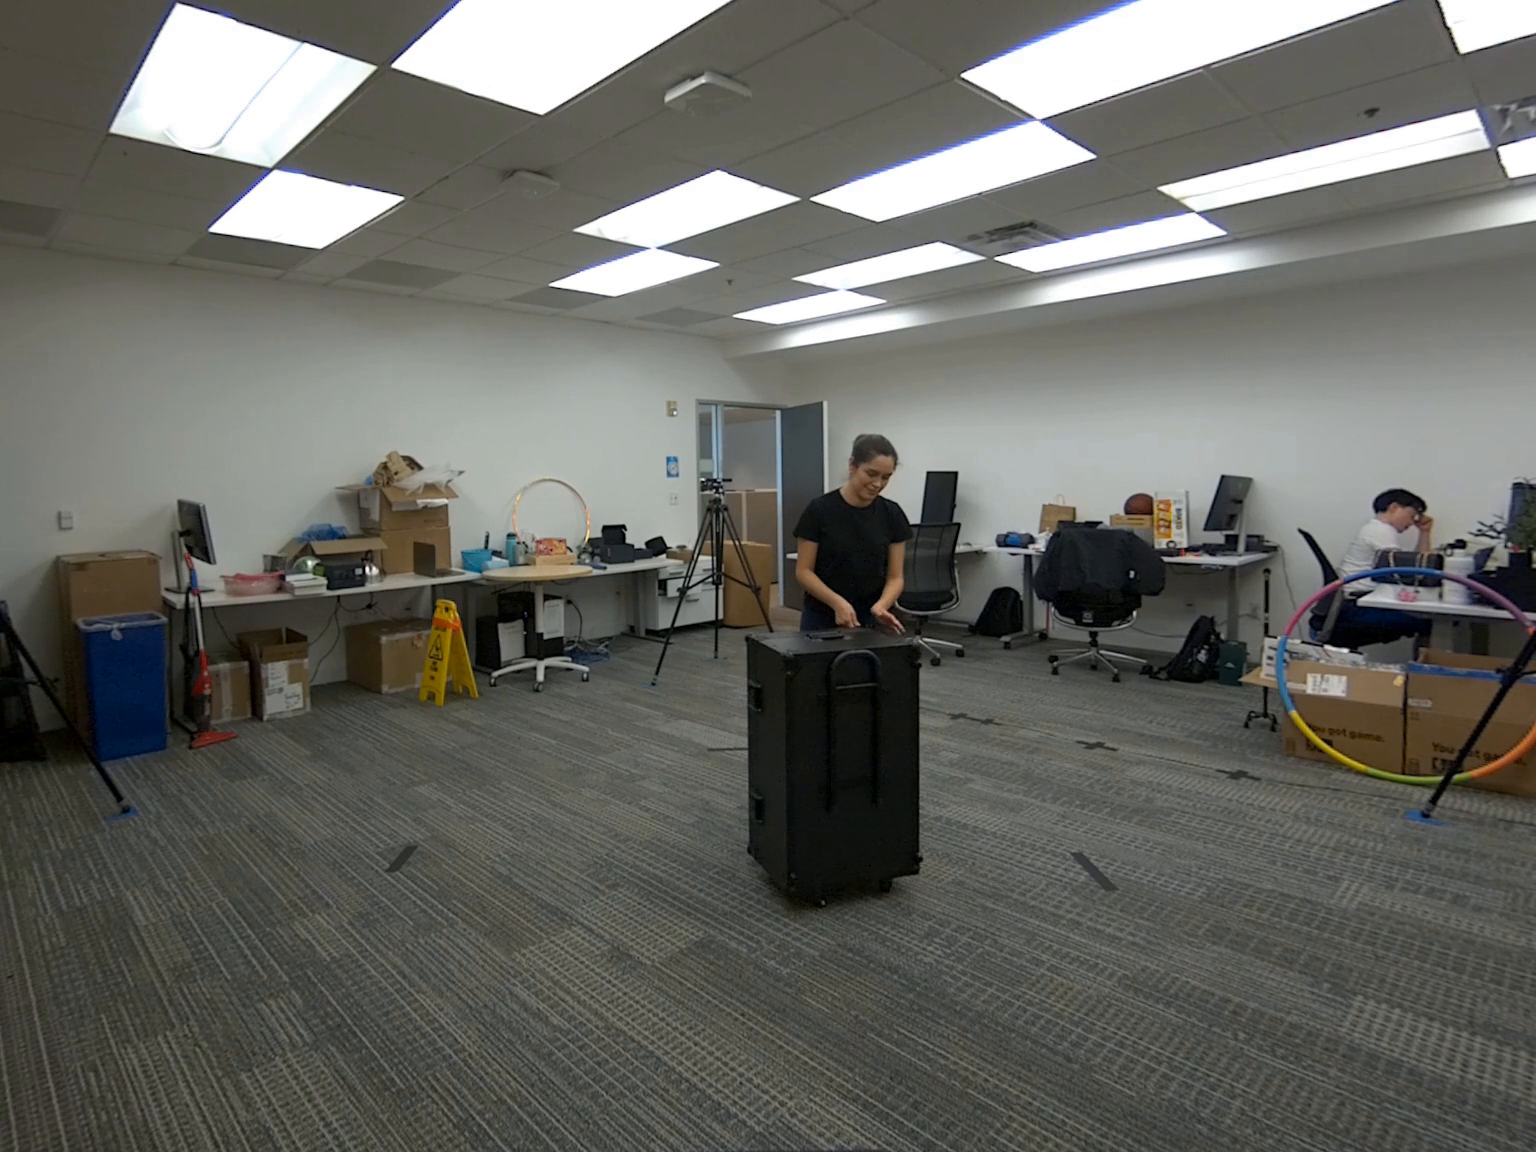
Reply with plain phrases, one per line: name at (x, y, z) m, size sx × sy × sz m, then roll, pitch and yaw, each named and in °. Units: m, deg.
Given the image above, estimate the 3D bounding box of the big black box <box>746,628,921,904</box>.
big black box at (0.222, 0.634, 2.928) m, size 0.511 × 0.857 × 0.405 m, roll -2°, pitch 5°, yaw -21°
